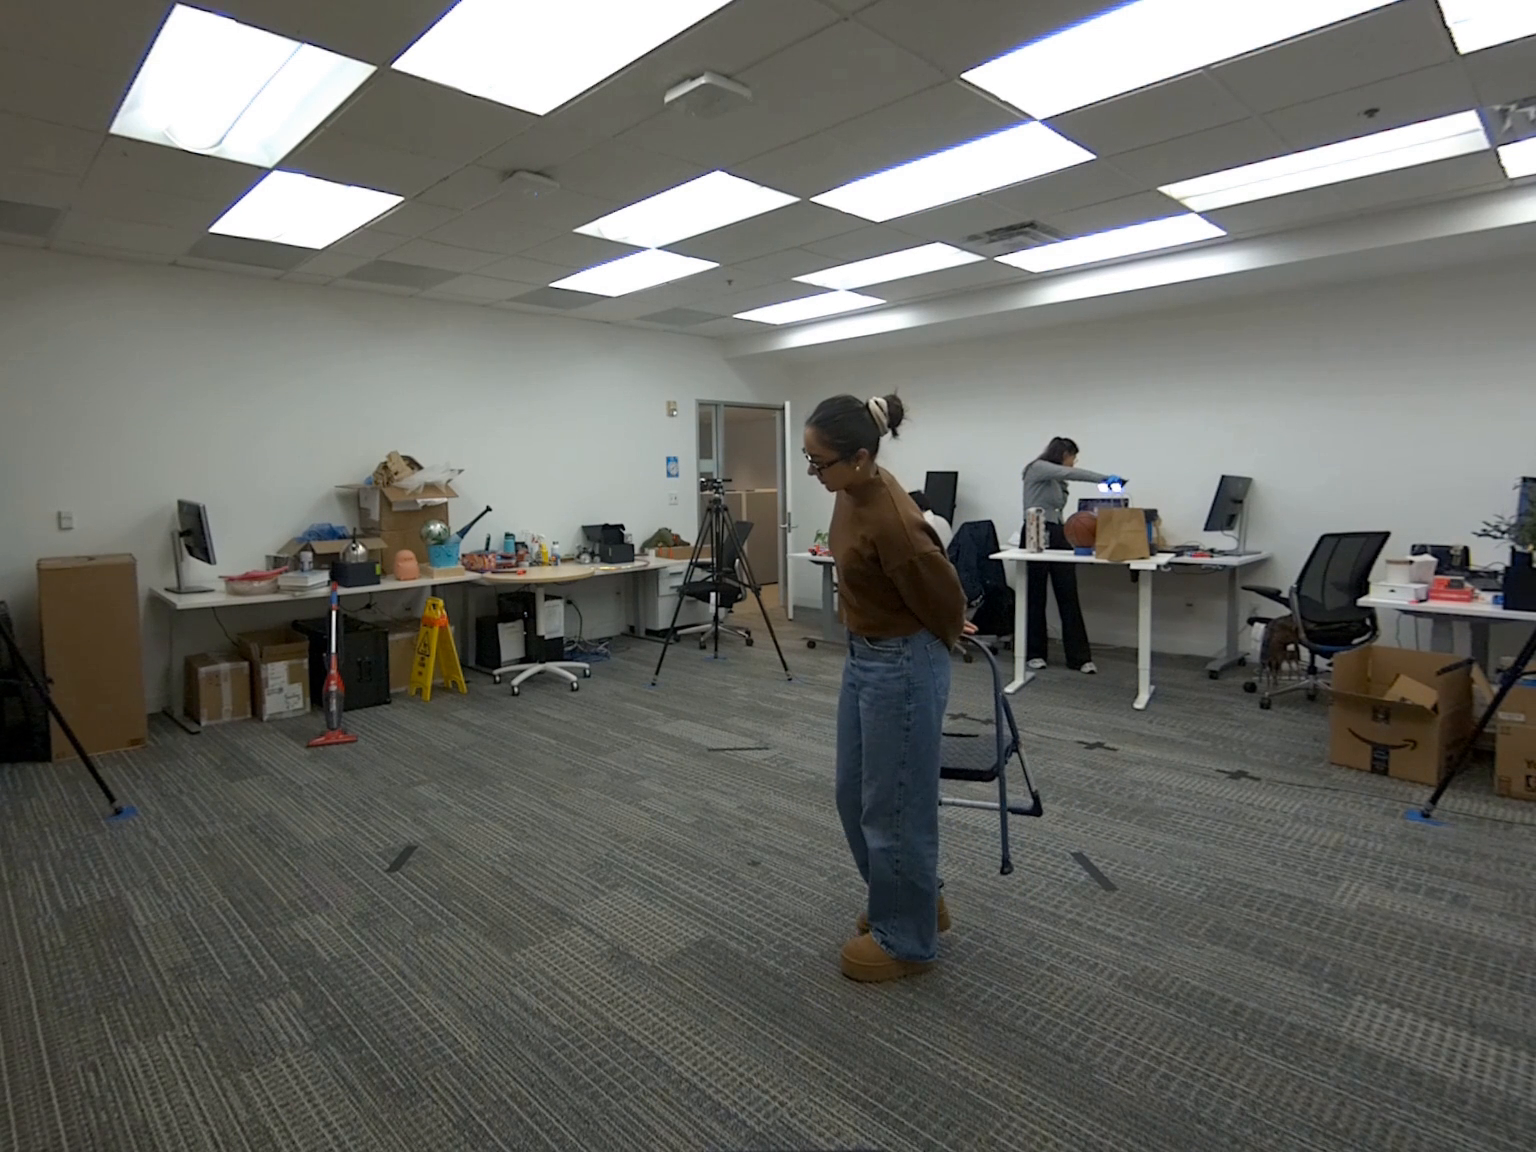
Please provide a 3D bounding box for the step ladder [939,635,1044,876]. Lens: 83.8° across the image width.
[{"bbox_3d":[0.529,0.490,2.543,0.441,0.601,0.343,-5,10,35],"label":"step ladder"}]
